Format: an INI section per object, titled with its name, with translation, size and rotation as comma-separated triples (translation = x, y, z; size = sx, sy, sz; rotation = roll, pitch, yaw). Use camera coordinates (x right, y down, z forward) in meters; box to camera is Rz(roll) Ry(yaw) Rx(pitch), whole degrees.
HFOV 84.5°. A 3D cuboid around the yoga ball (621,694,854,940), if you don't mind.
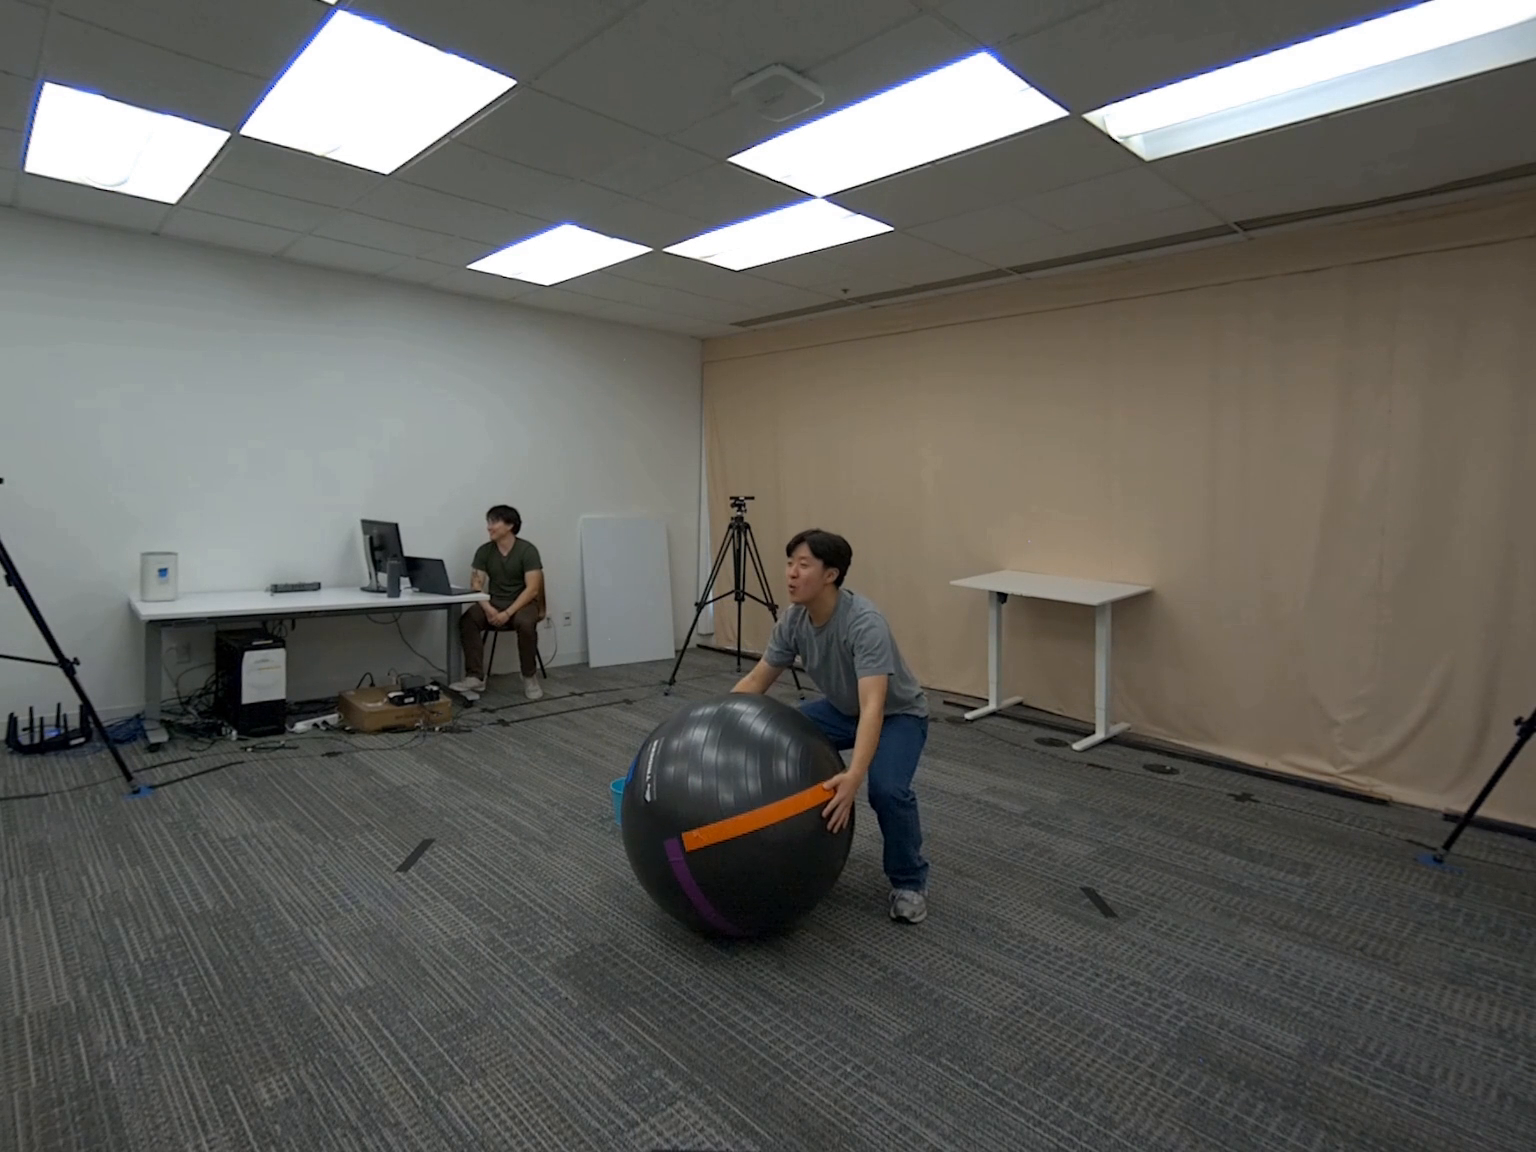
[yoga ball]
translation = -0.120, 0.755, 2.733
size = 0.757, 0.756, 0.761
rotation = 1, 4, -1
